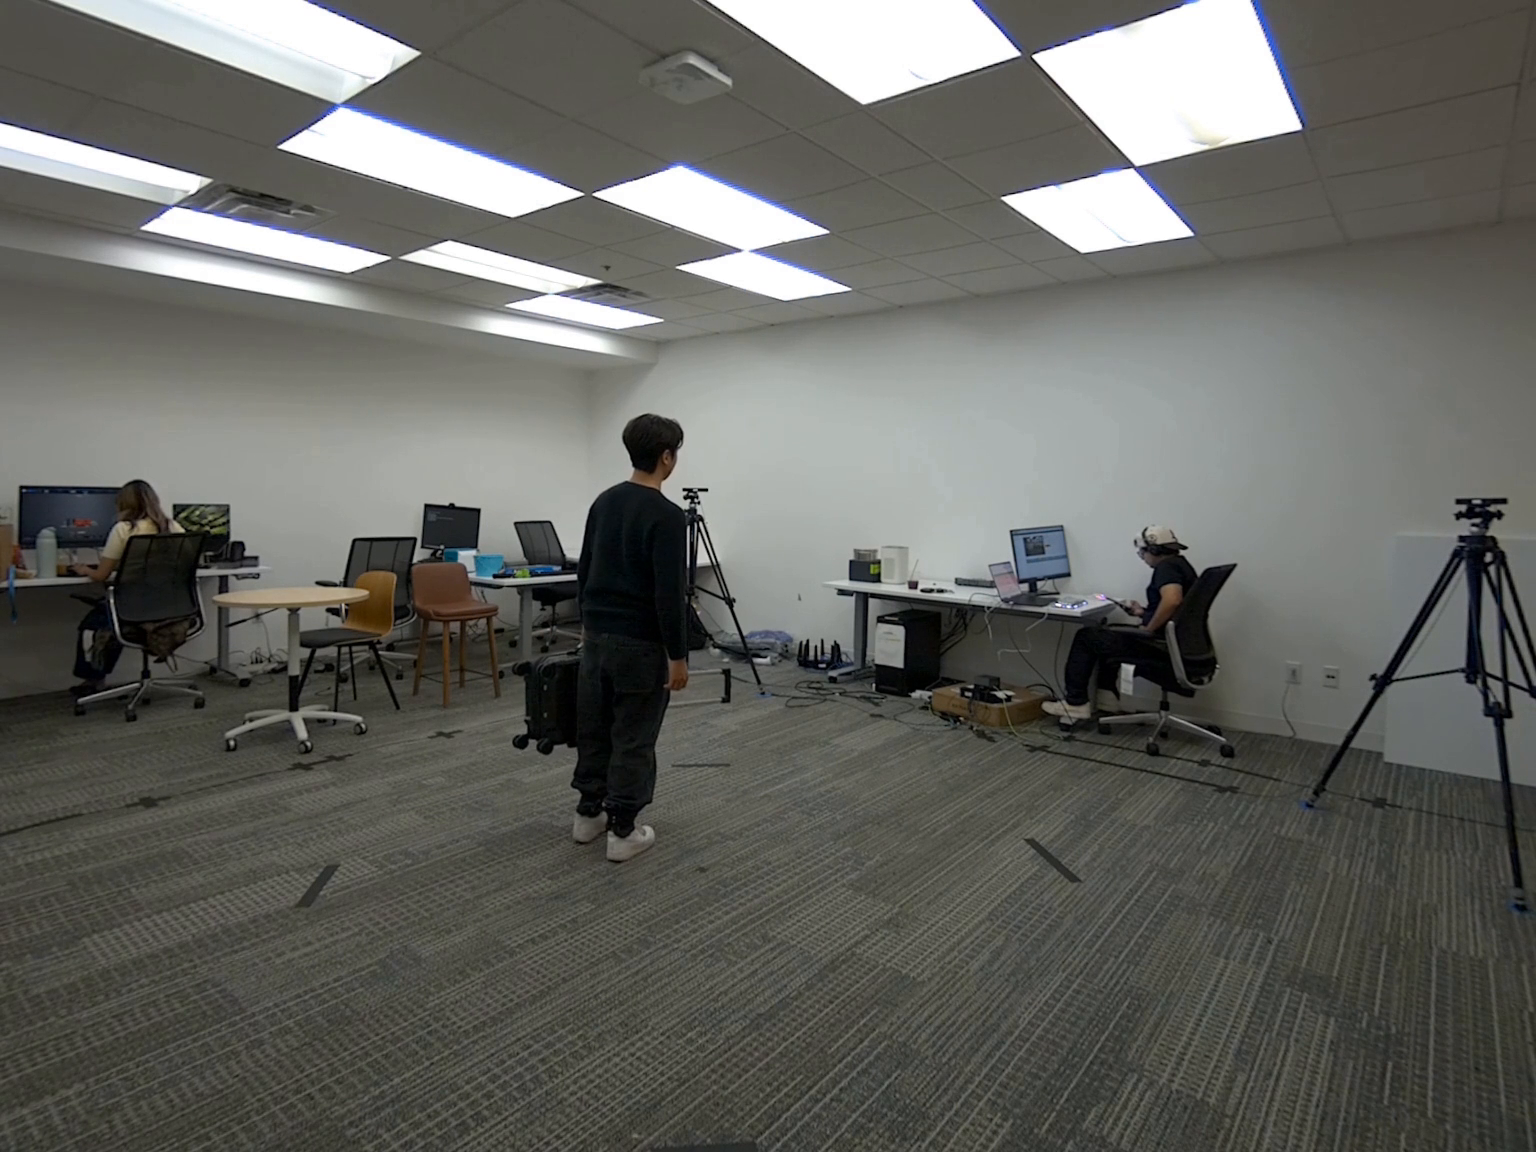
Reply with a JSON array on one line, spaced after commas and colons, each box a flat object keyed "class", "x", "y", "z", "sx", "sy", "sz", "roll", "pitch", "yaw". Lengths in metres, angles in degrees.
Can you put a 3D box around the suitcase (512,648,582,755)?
[{"class": "suitcase", "x": -0.624, "y": 0.498, "z": 3.668, "sx": 0.948, "sy": 0.385, "sz": 0.264, "roll": -1, "pitch": -3, "yaw": -42}]
